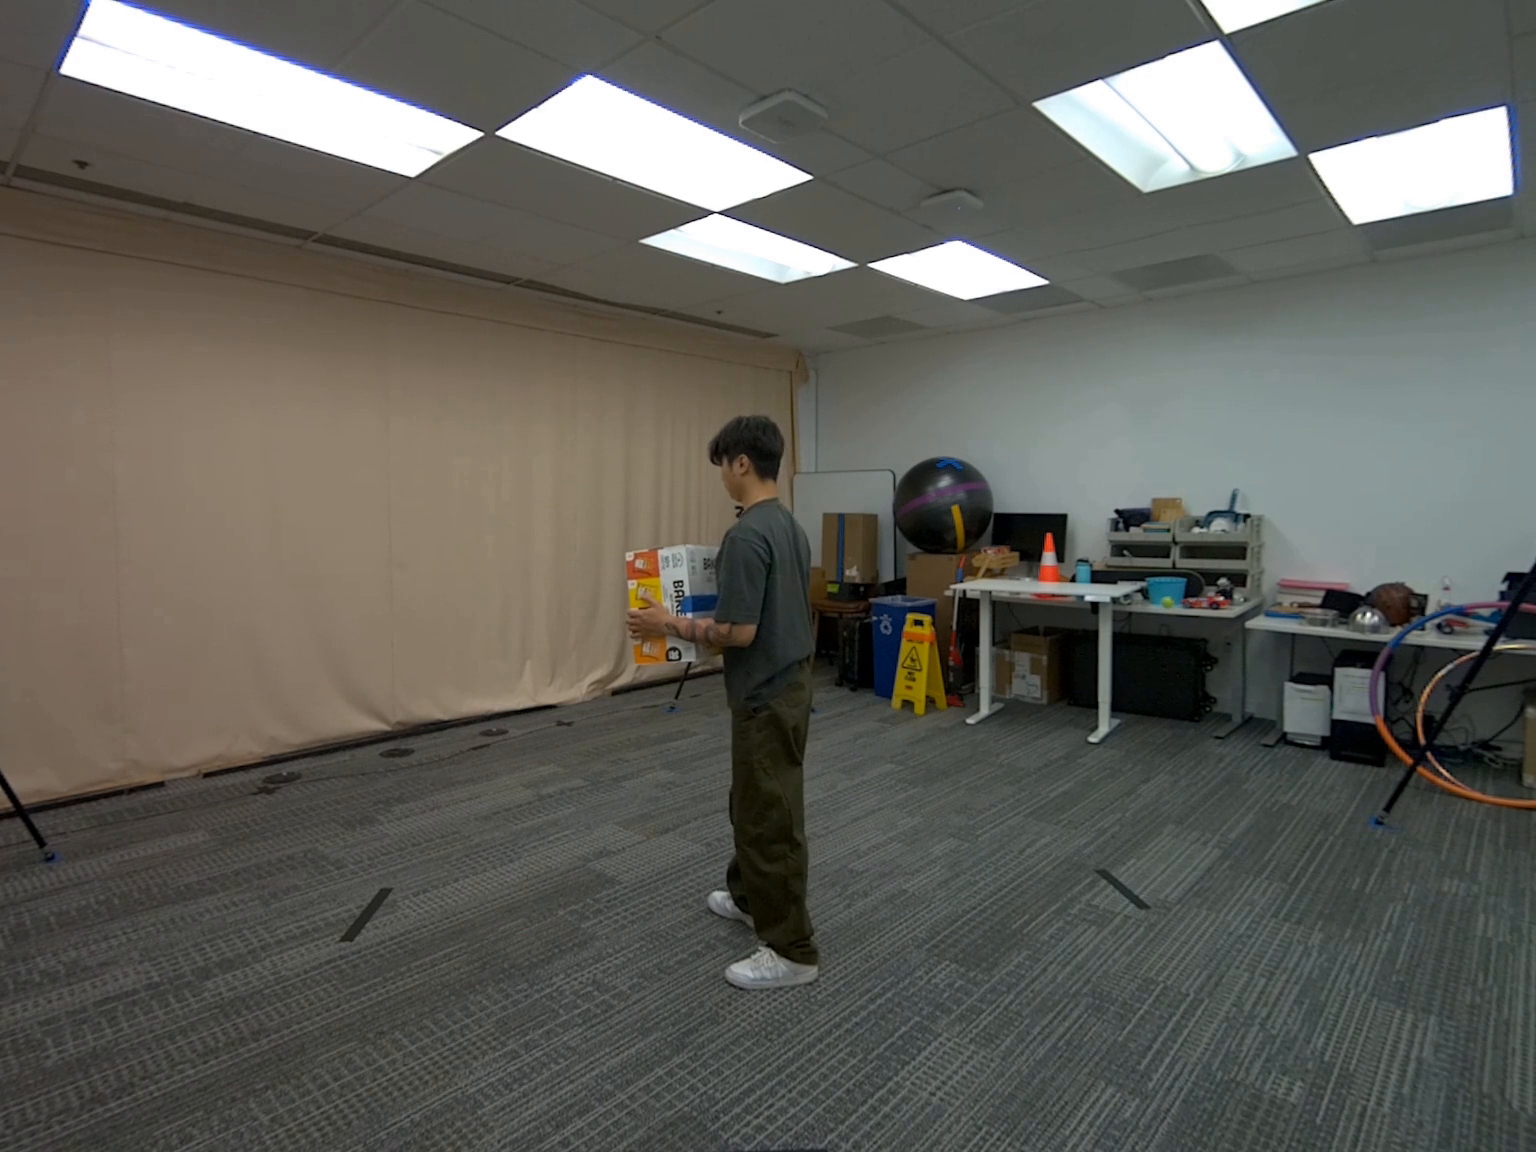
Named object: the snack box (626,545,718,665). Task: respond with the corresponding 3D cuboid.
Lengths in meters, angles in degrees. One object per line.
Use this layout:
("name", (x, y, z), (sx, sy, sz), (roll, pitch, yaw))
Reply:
("snack box", (-0.250, 0.089, 2.671), (0.210, 0.341, 0.396), (-6, -3, 20))
